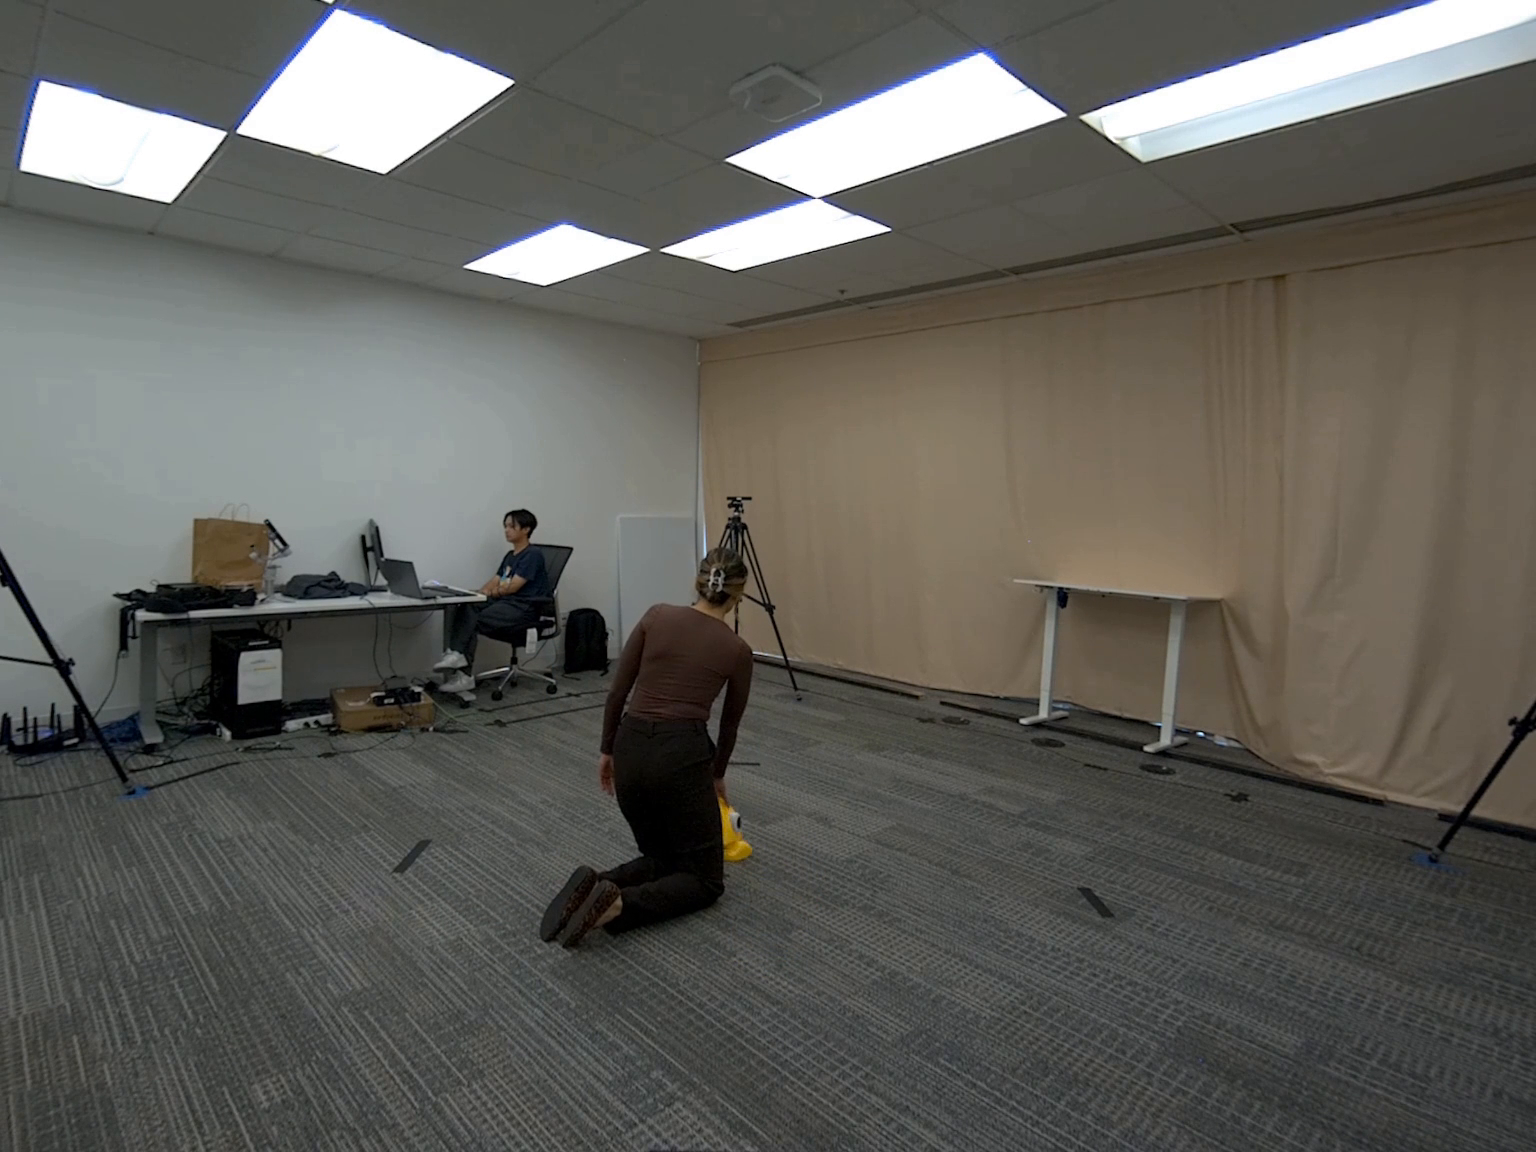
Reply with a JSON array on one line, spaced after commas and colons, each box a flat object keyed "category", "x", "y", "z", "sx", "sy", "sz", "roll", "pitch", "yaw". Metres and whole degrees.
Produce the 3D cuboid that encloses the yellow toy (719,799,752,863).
[{"category": "yellow toy", "x": -0.171, "y": 0.973, "z": 3.317, "sx": 0.188, "sy": 0.230, "sz": 0.210, "roll": -1, "pitch": 4, "yaw": -44}]
